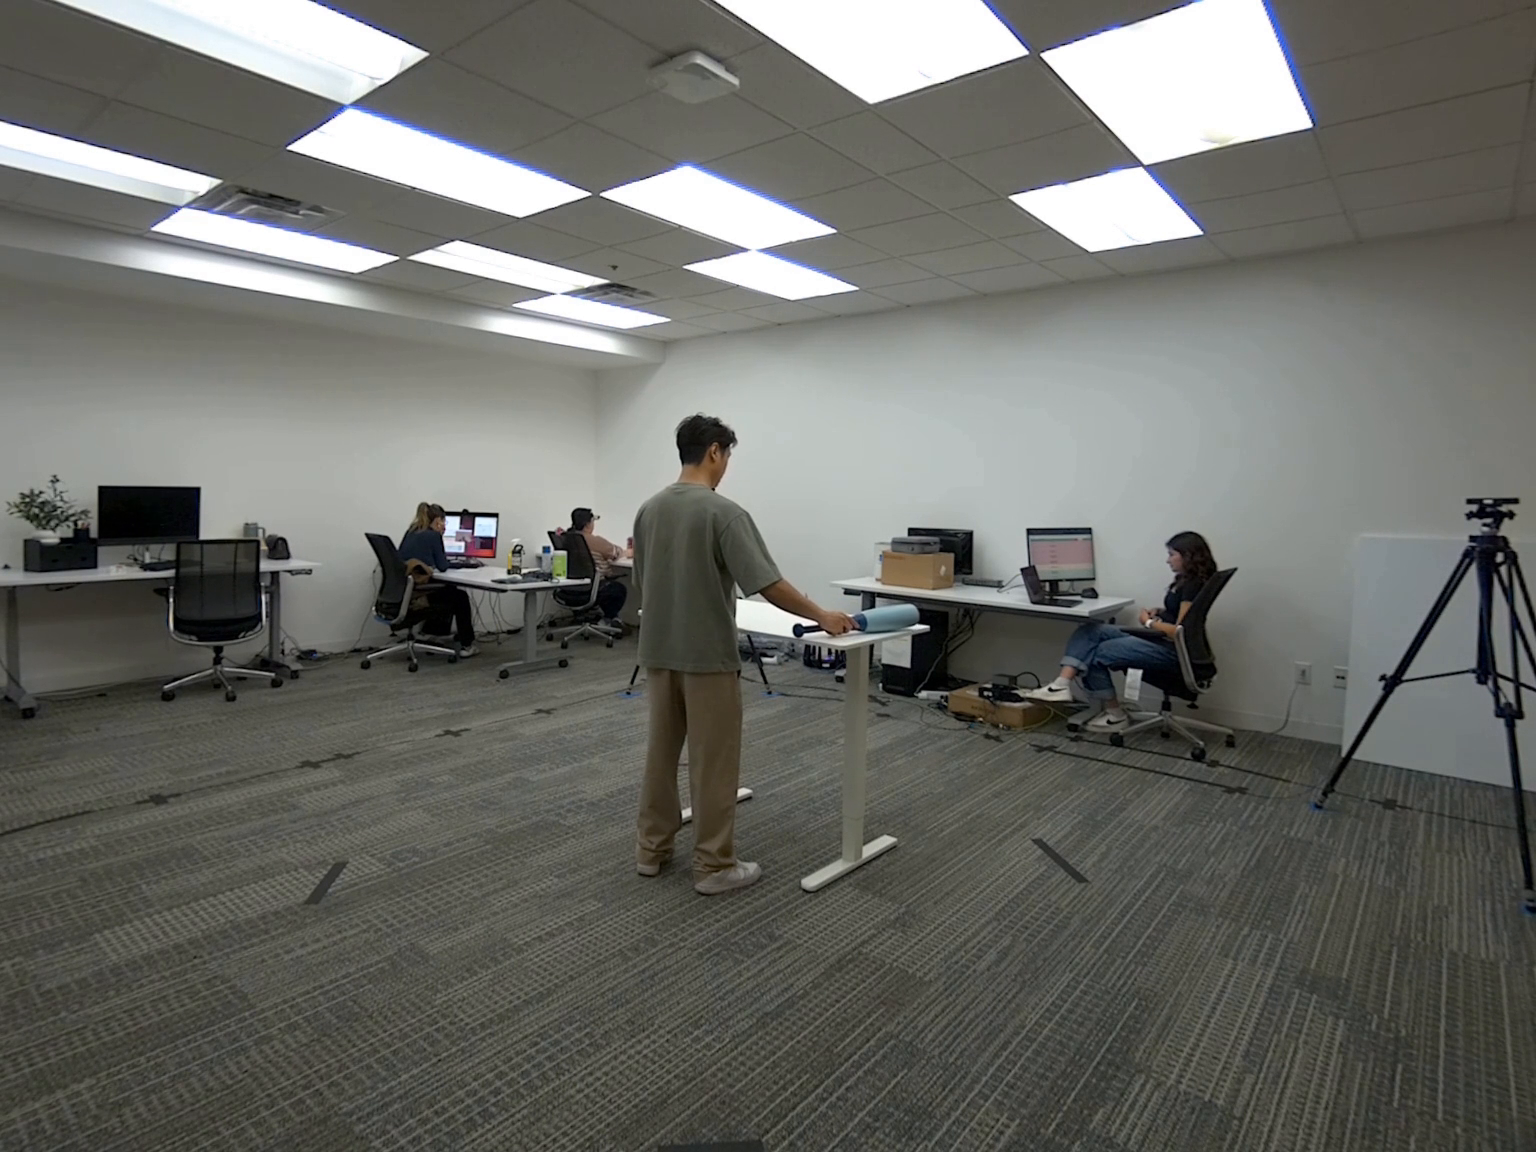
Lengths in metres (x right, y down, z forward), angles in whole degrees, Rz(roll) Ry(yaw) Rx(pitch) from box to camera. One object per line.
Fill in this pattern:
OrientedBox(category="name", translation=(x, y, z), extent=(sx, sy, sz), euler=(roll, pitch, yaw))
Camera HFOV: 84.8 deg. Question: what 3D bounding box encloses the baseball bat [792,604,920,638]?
OrientedBox(category="baseball bat", translation=(0.306, 0.173, 3.047), extent=(0.530, 0.088, 0.092), euler=(-6, 7, -29))
